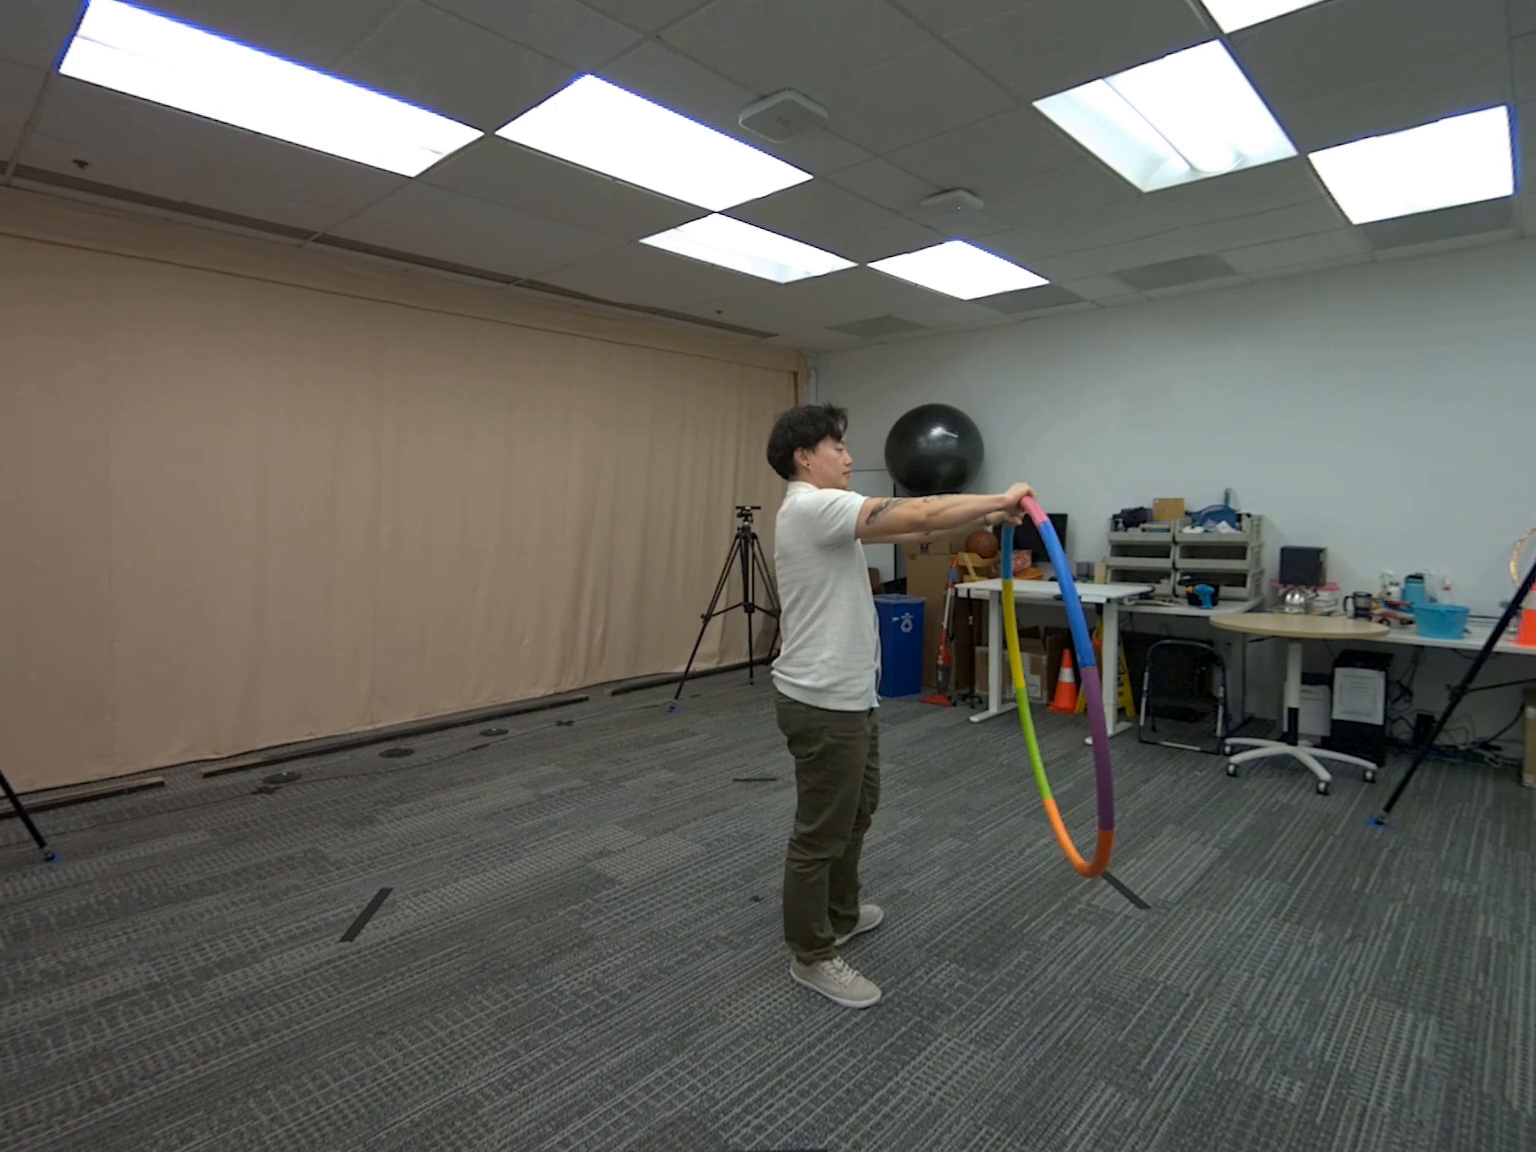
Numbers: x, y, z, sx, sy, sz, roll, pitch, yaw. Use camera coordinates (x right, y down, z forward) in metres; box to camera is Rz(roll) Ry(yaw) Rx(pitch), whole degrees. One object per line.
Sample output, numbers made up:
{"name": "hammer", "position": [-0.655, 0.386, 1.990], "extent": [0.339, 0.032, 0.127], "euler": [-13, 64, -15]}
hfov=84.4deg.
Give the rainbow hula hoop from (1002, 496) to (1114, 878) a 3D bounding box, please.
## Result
{"name": "rainbow hula hoop", "position": [0.754, 0.276, 2.255], "extent": [0.036, 0.977, 0.972], "euler": [-6, 3, 7]}
